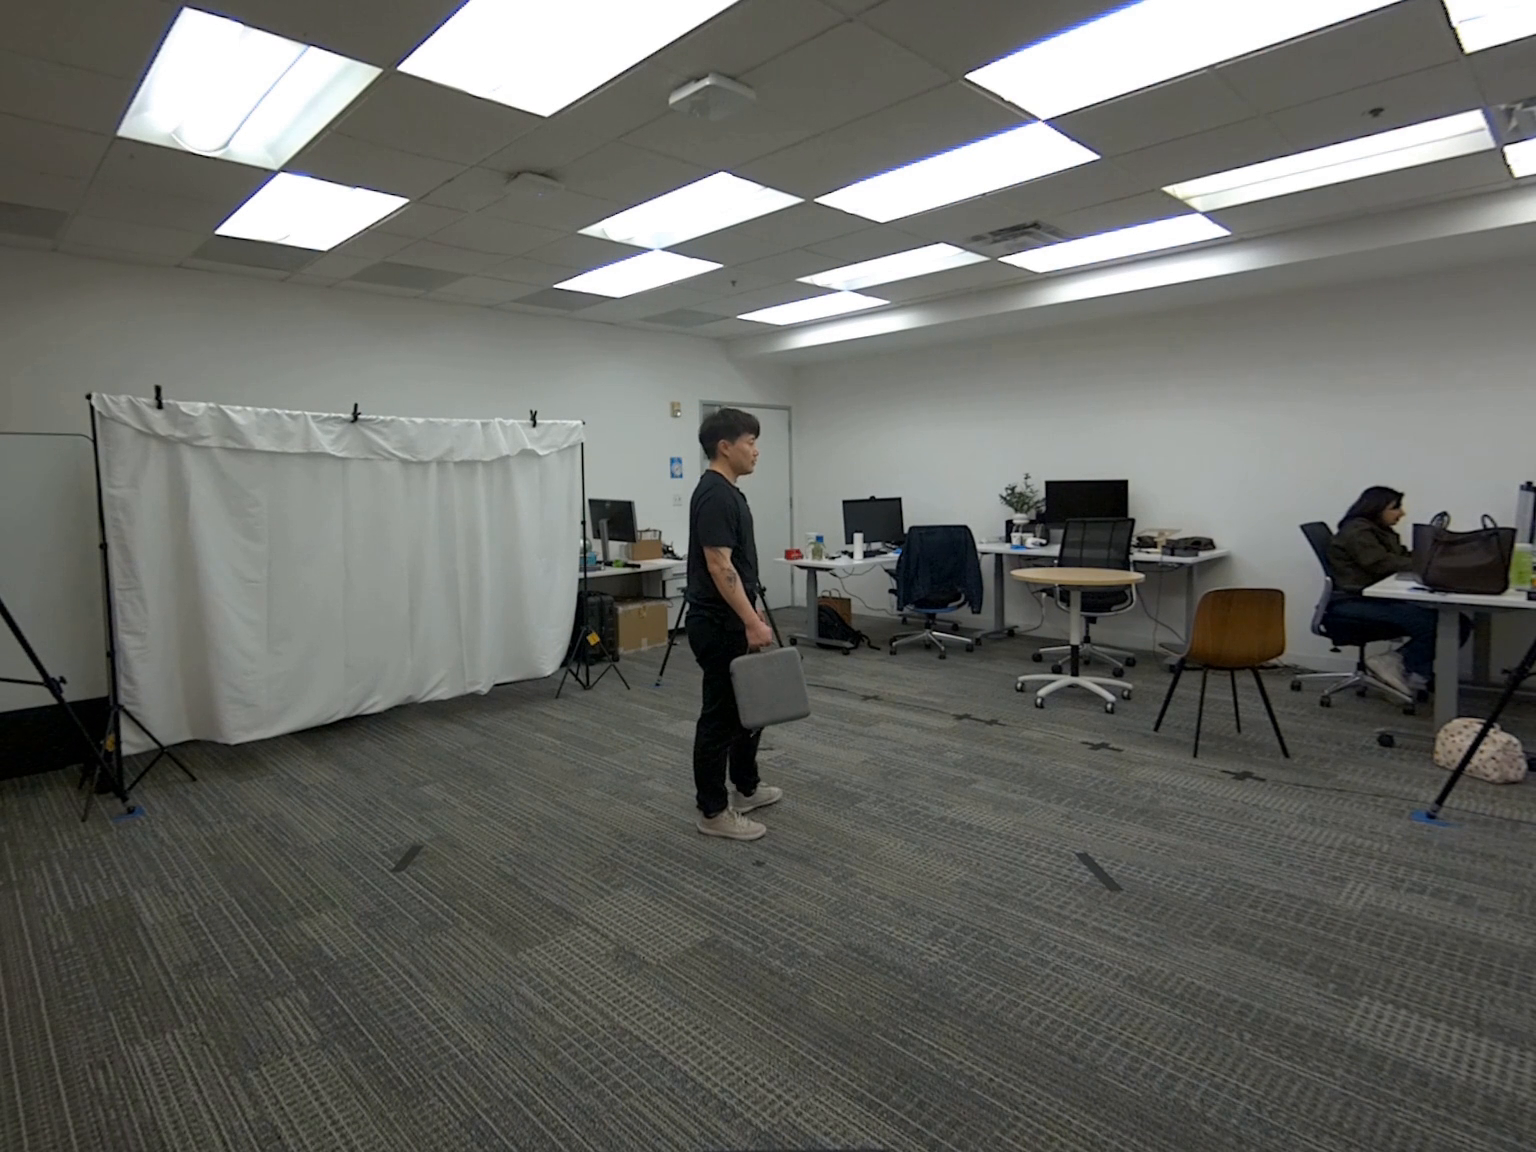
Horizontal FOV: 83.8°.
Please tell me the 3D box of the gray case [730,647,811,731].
[{"bbox_3d":[0.006,0.394,3.047,0.257,0.263,0.103,-12,-10,0],"label":"gray case"}]
